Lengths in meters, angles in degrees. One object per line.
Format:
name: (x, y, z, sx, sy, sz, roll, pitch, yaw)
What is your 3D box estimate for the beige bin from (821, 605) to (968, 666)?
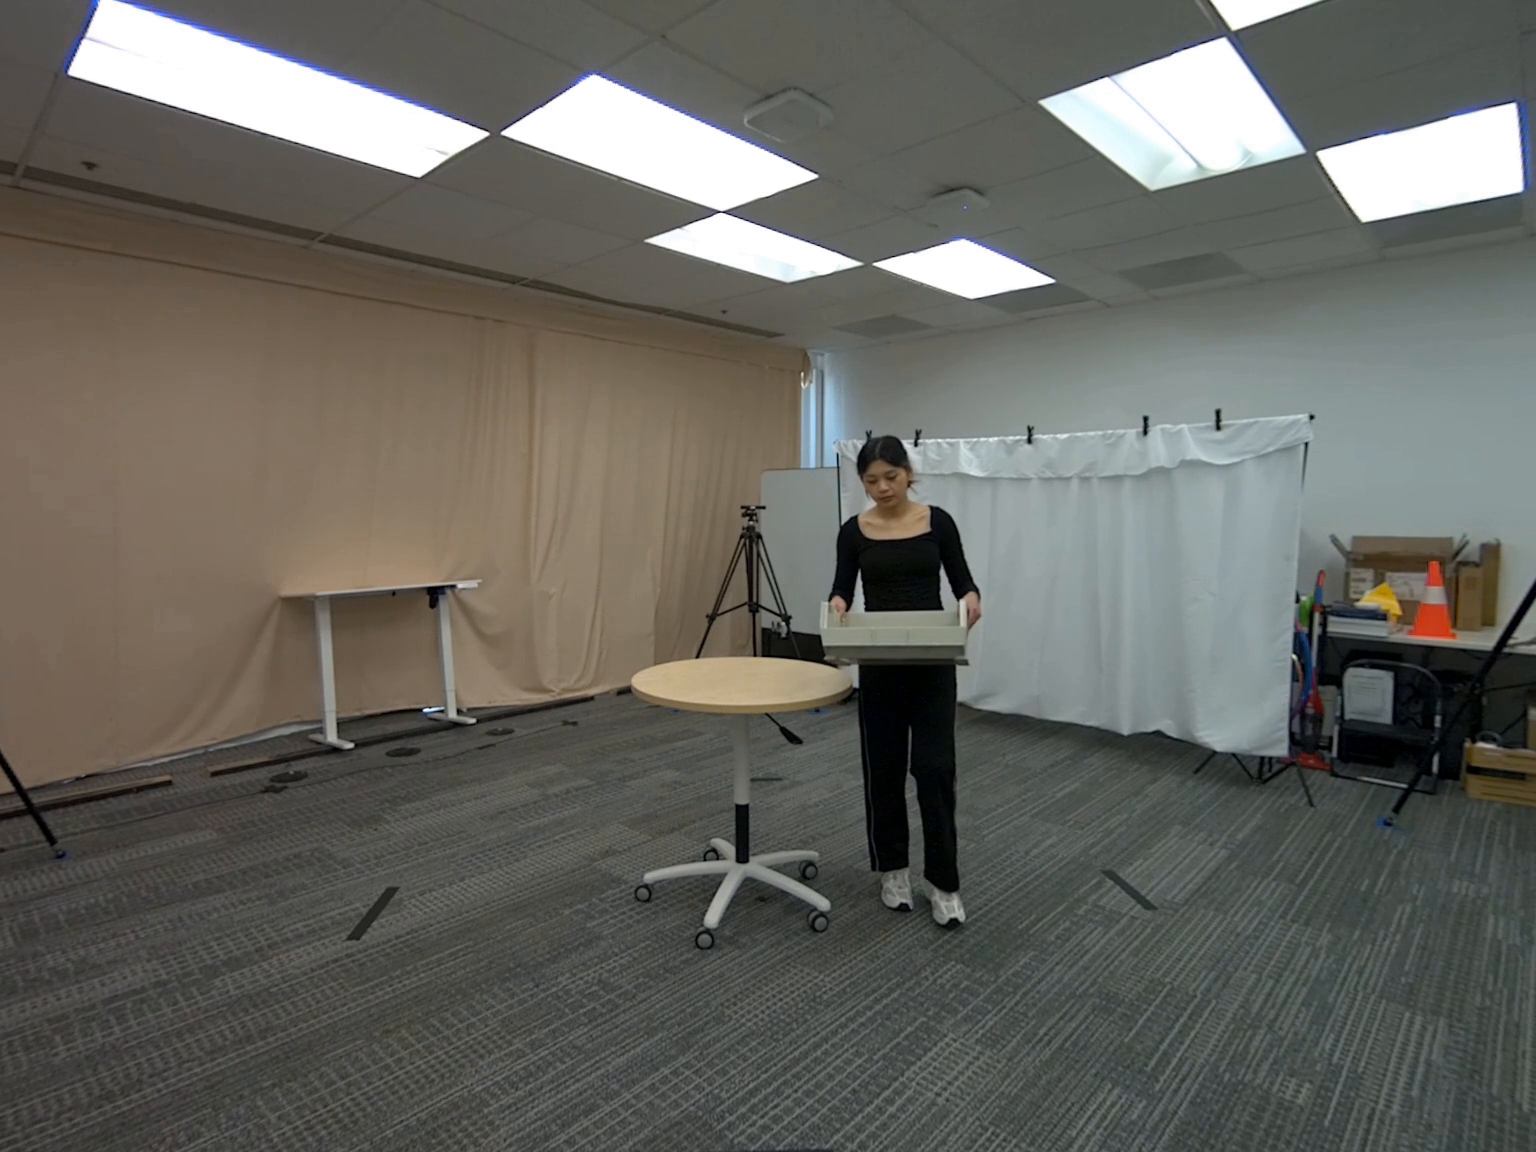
beige bin: (0.398, 0.183, 2.600, 0.429, 0.190, 0.369, -3, -11, 15)
